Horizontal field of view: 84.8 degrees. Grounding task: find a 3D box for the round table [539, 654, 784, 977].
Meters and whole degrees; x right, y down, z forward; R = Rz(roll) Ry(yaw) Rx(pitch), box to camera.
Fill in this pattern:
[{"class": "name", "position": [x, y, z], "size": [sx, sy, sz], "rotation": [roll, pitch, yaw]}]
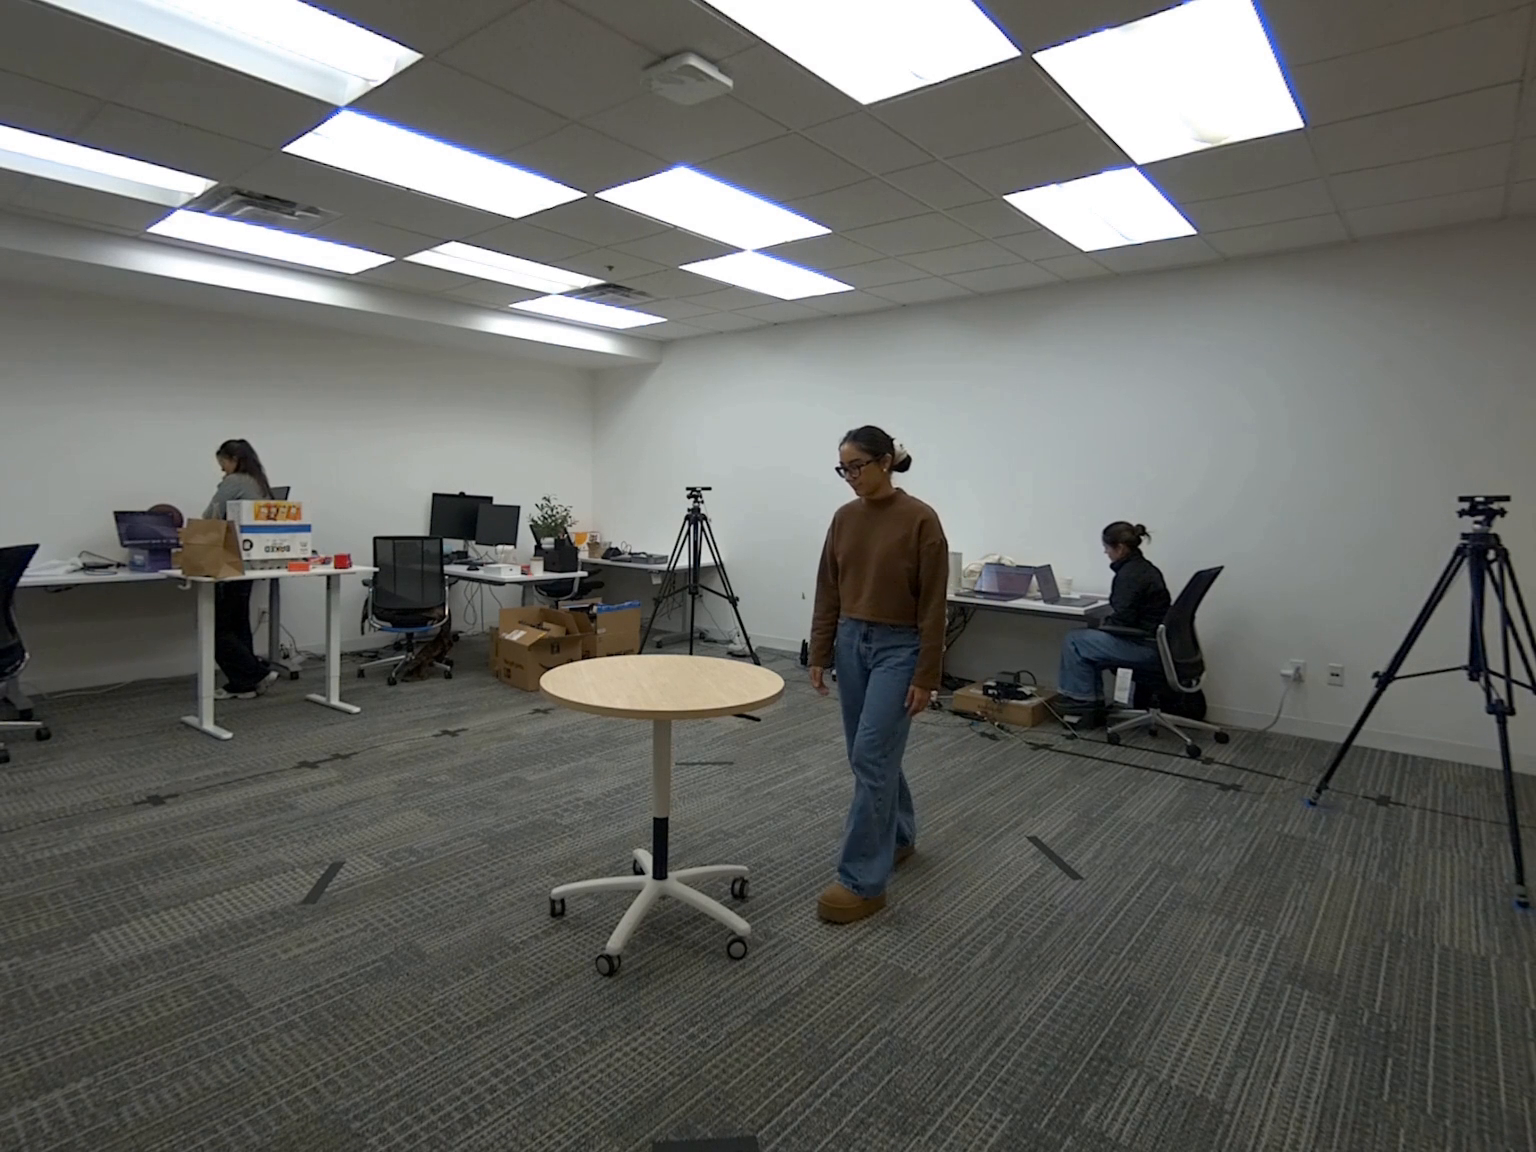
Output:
[{"class": "round table", "position": [-0.363, 0.712, 2.703], "size": [0.784, 0.784, 0.789], "rotation": [1, 4, -2]}]
